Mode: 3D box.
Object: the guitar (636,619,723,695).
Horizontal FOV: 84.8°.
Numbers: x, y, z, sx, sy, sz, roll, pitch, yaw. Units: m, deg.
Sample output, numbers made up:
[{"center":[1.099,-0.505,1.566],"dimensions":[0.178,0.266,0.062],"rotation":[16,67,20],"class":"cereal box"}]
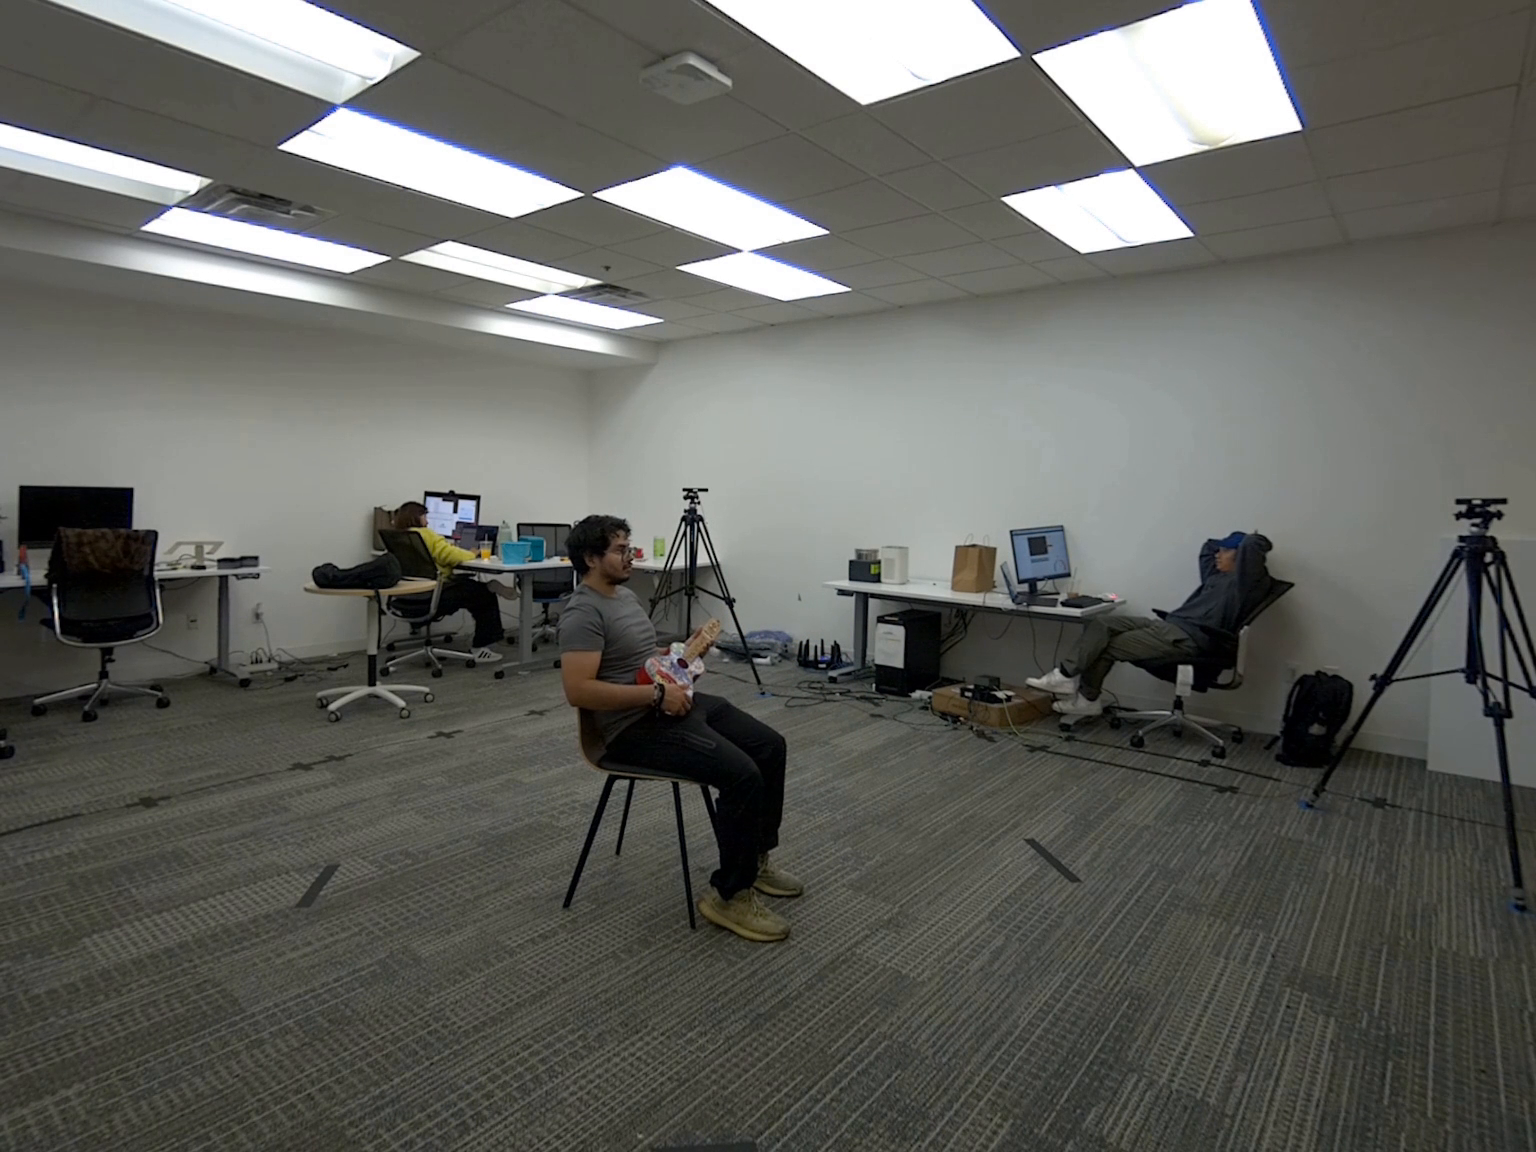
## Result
[{"center":[-0.268,0.302,2.948],"dimensions":[0.196,0.070,0.492],"rotation":[43,30,8],"class":"guitar"}]
